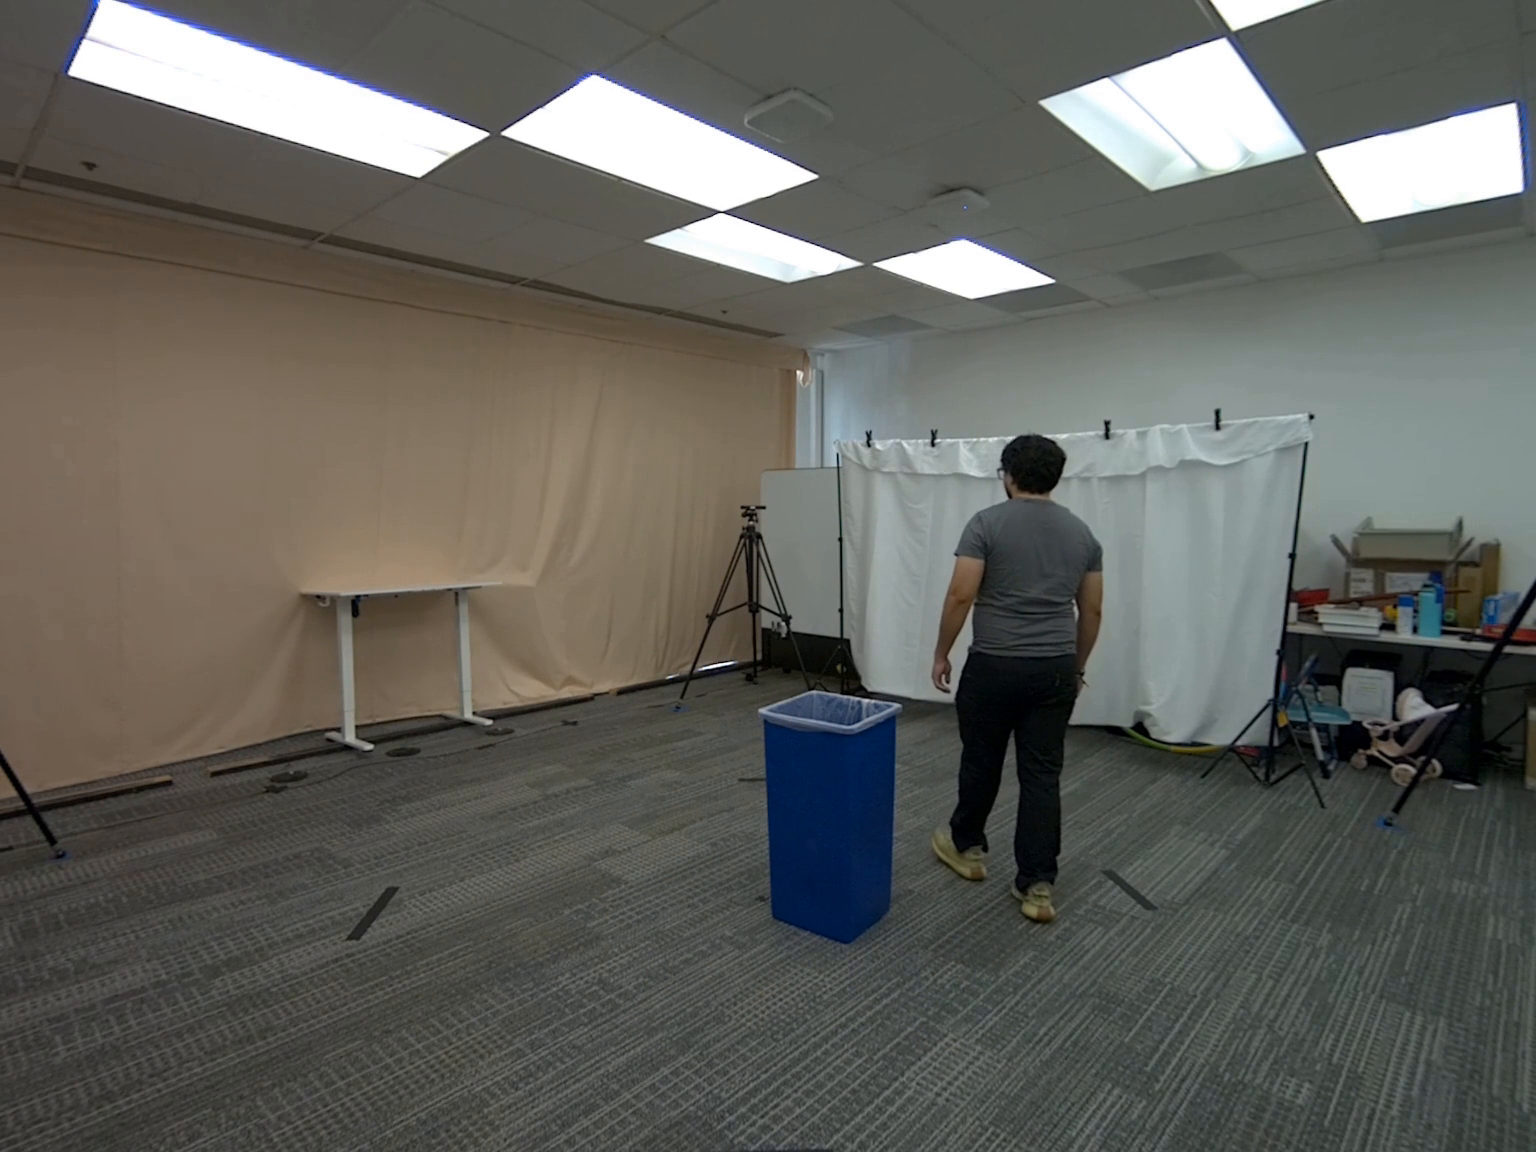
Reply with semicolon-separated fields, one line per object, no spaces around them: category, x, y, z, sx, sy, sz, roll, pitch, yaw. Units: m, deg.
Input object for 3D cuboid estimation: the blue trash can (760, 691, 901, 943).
blue trash can;0.215;0.797;2.845;0.390;0.712;0.363;2;4;37
